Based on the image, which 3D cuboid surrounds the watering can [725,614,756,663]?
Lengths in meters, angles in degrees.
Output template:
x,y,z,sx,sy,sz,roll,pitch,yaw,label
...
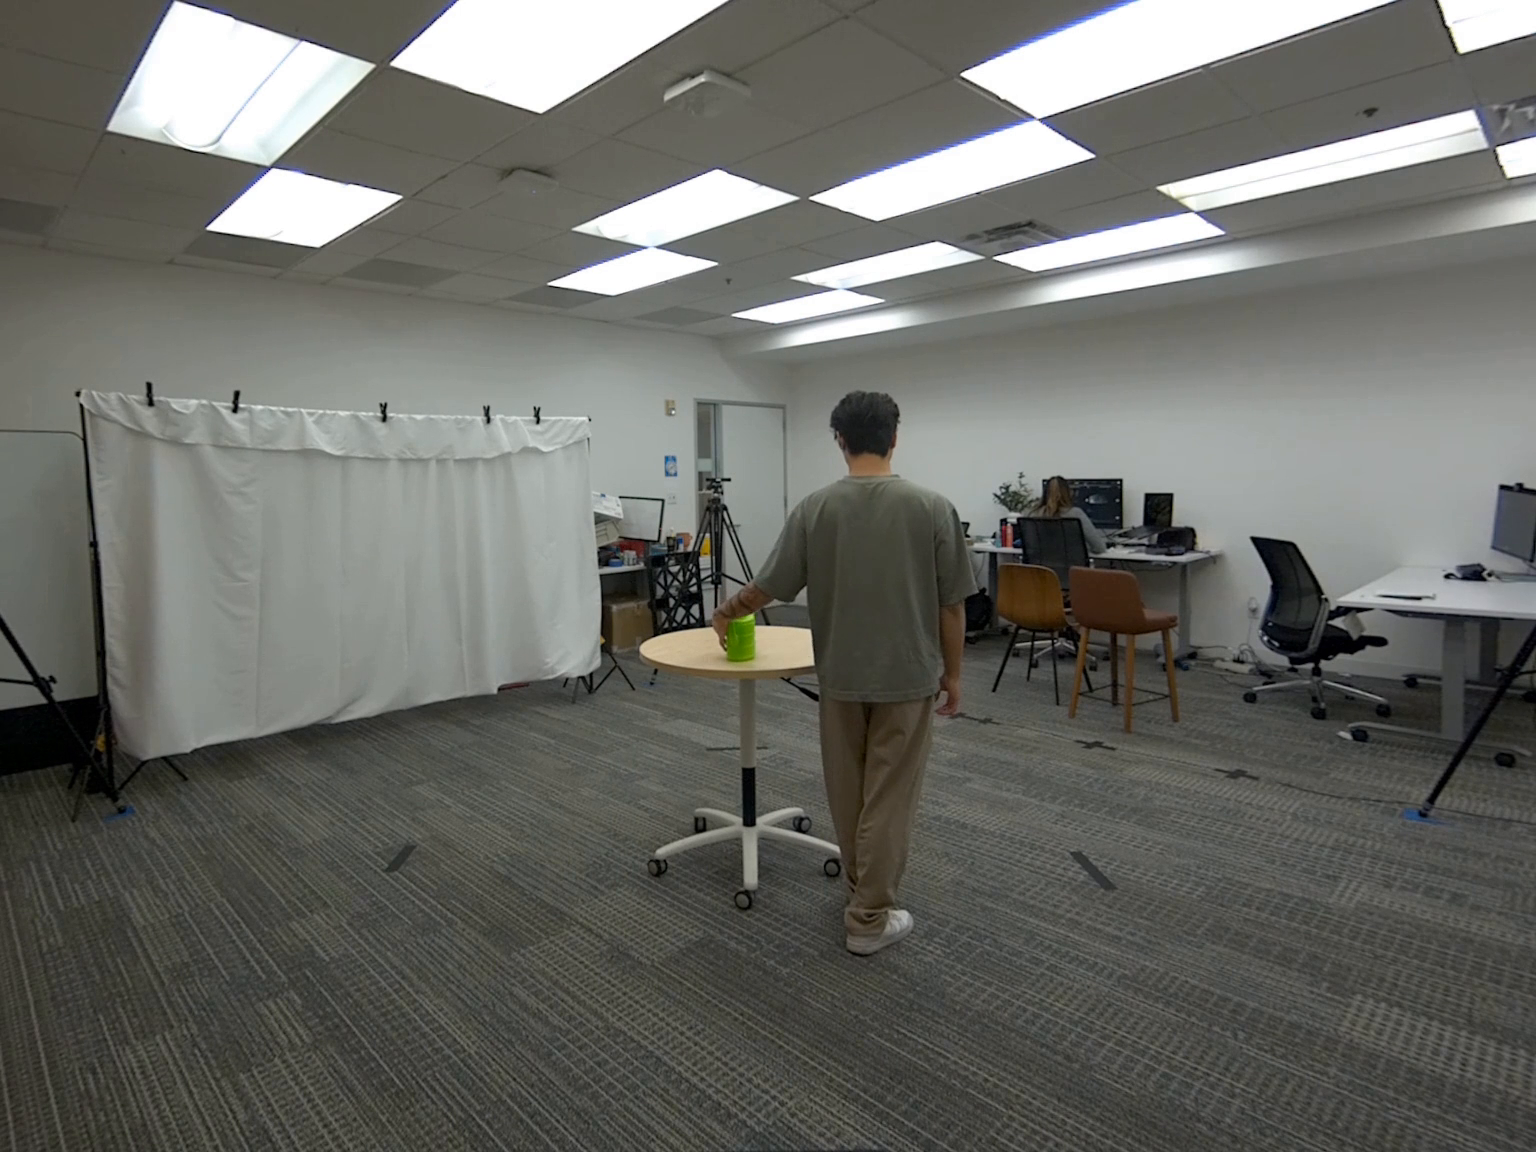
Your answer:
x,y,z,sx,sy,sz,roll,pitch,yaw,label
-0.059,0.183,2.893,0.101,0.176,0.272,3,9,36,watering can
